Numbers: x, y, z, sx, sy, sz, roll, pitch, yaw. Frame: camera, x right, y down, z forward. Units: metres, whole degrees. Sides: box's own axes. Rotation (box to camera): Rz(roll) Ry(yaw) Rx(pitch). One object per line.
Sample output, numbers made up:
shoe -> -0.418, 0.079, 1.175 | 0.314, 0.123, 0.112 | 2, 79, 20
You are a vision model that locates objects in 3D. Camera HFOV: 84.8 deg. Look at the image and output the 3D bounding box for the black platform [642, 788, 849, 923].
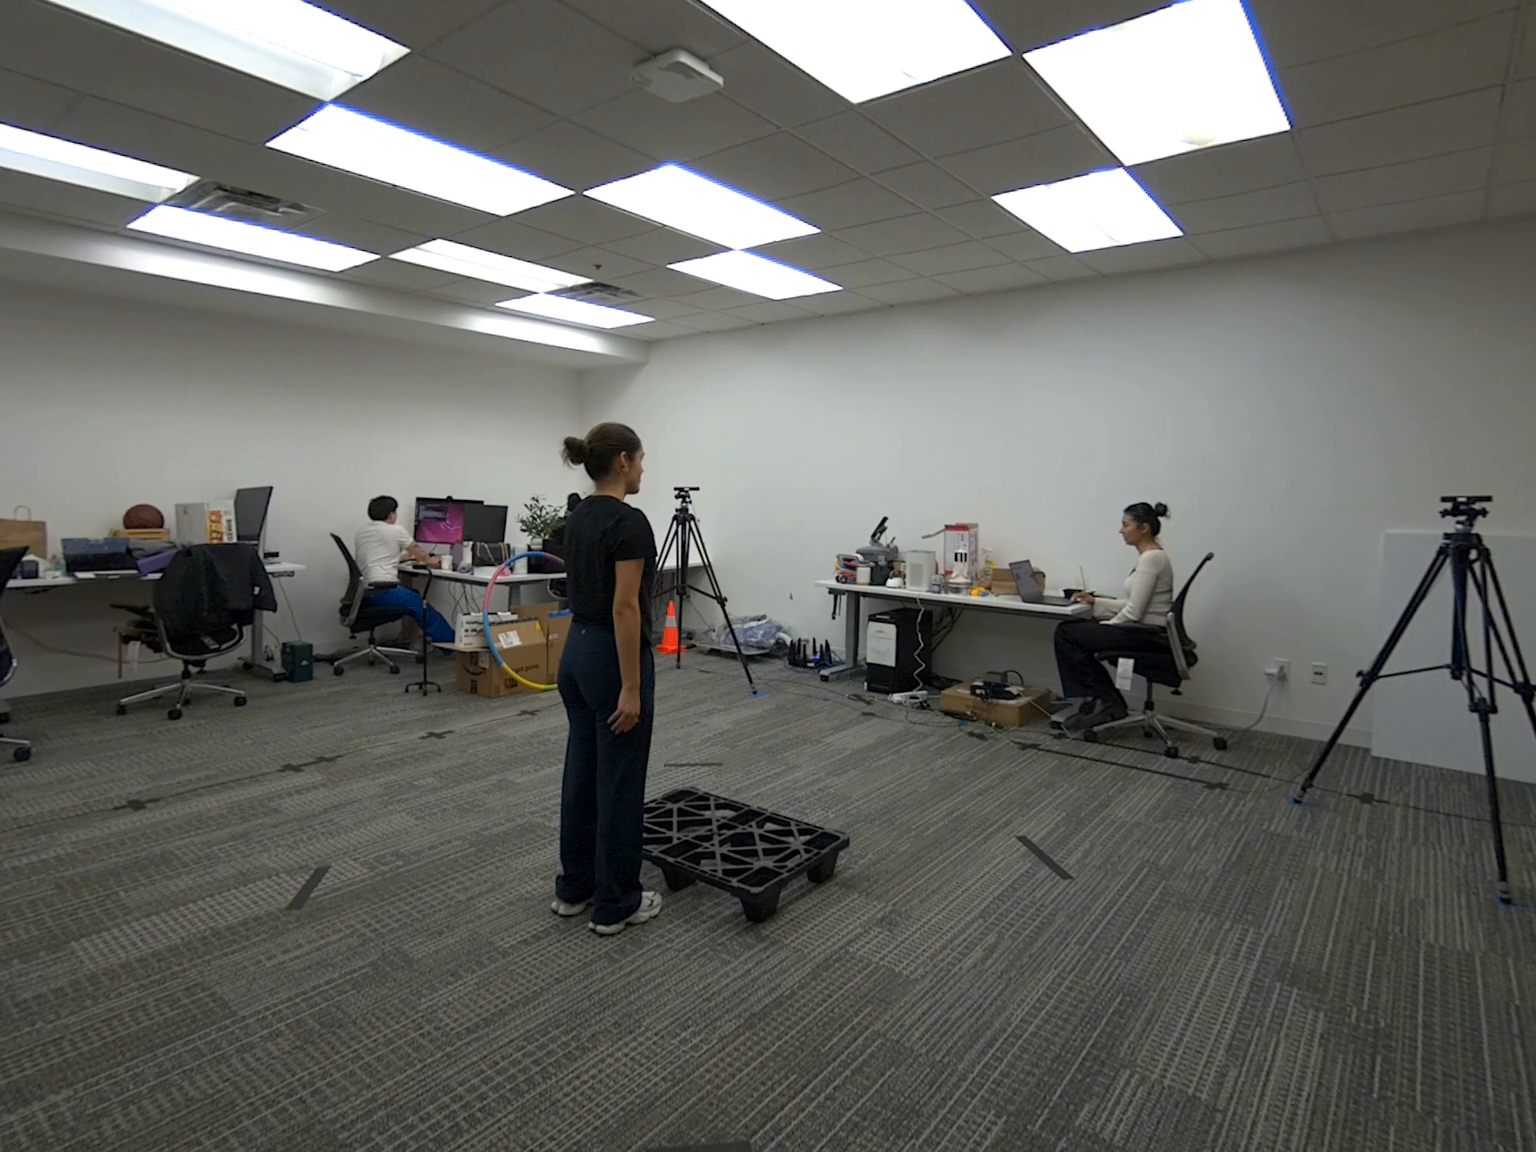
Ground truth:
black platform -> -0.175, 1.000, 3.130 | 0.832, 0.143, 0.588 | 5, 7, 37
